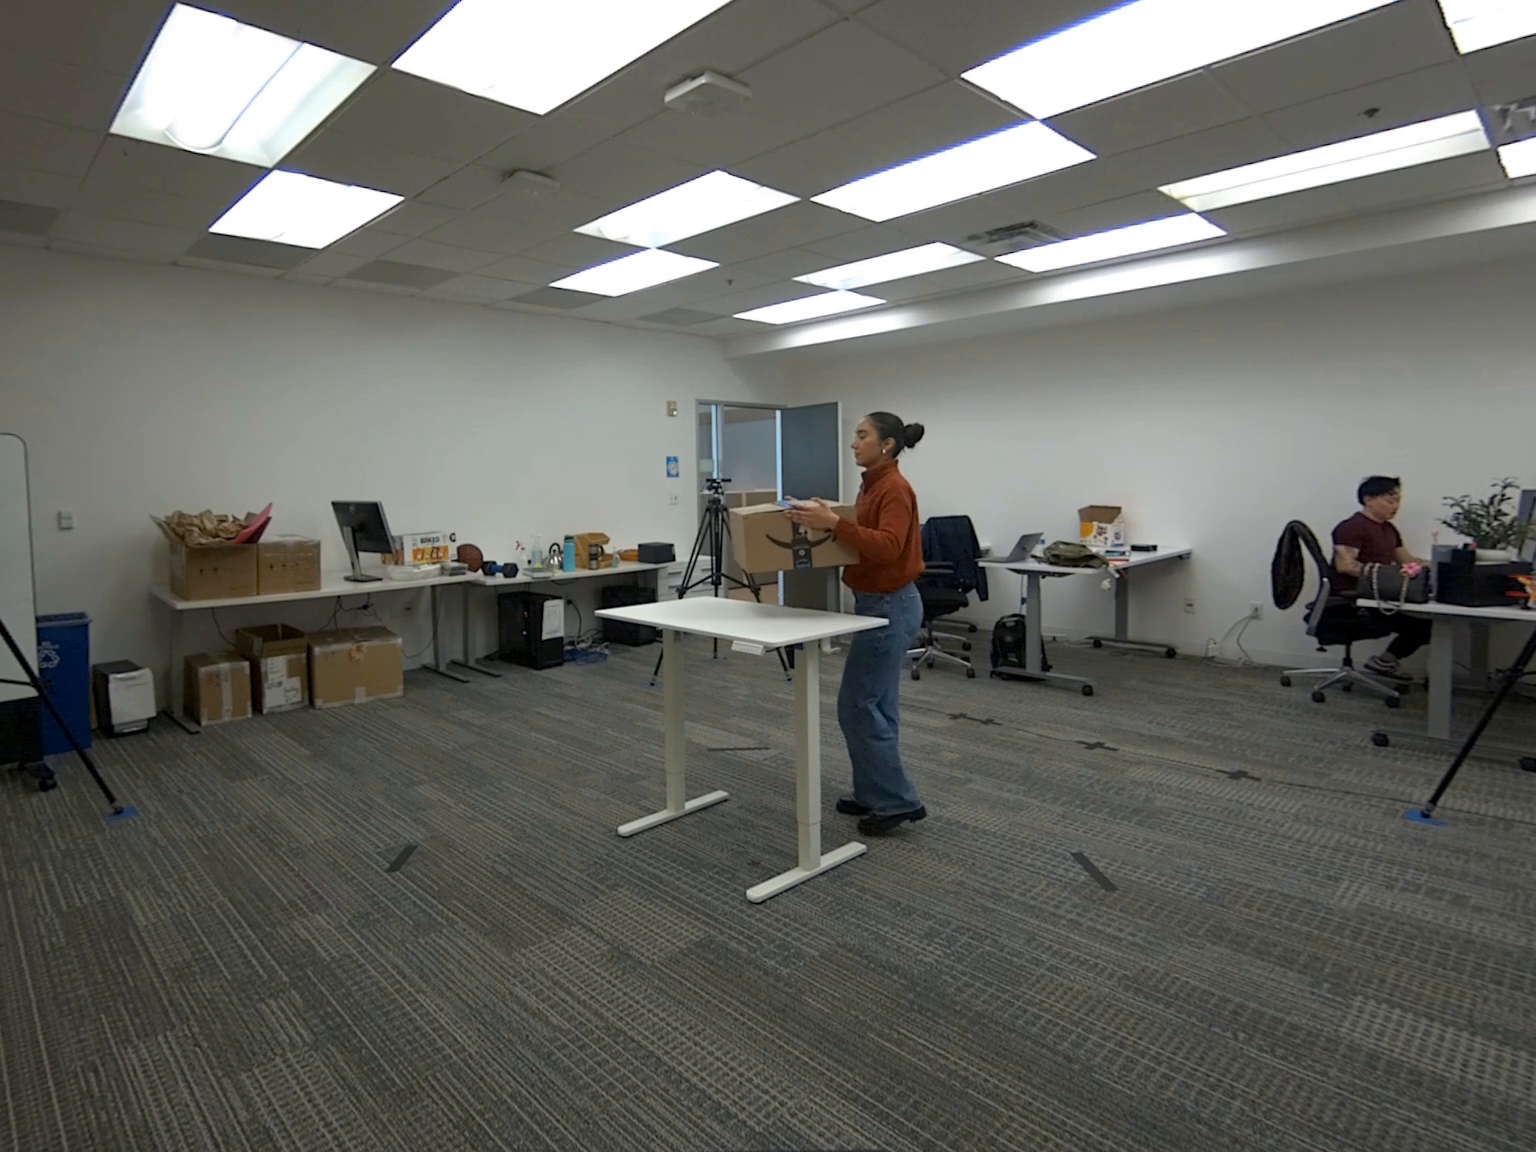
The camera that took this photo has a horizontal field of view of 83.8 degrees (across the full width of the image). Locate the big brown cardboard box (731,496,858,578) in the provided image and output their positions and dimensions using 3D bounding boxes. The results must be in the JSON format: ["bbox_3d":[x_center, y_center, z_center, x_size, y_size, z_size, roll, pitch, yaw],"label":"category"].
[{"bbox_3d":[0.099,-0.170,3.375,0.415,0.231,0.596,-5,8,-6],"label":"big brown cardboard box"}]
